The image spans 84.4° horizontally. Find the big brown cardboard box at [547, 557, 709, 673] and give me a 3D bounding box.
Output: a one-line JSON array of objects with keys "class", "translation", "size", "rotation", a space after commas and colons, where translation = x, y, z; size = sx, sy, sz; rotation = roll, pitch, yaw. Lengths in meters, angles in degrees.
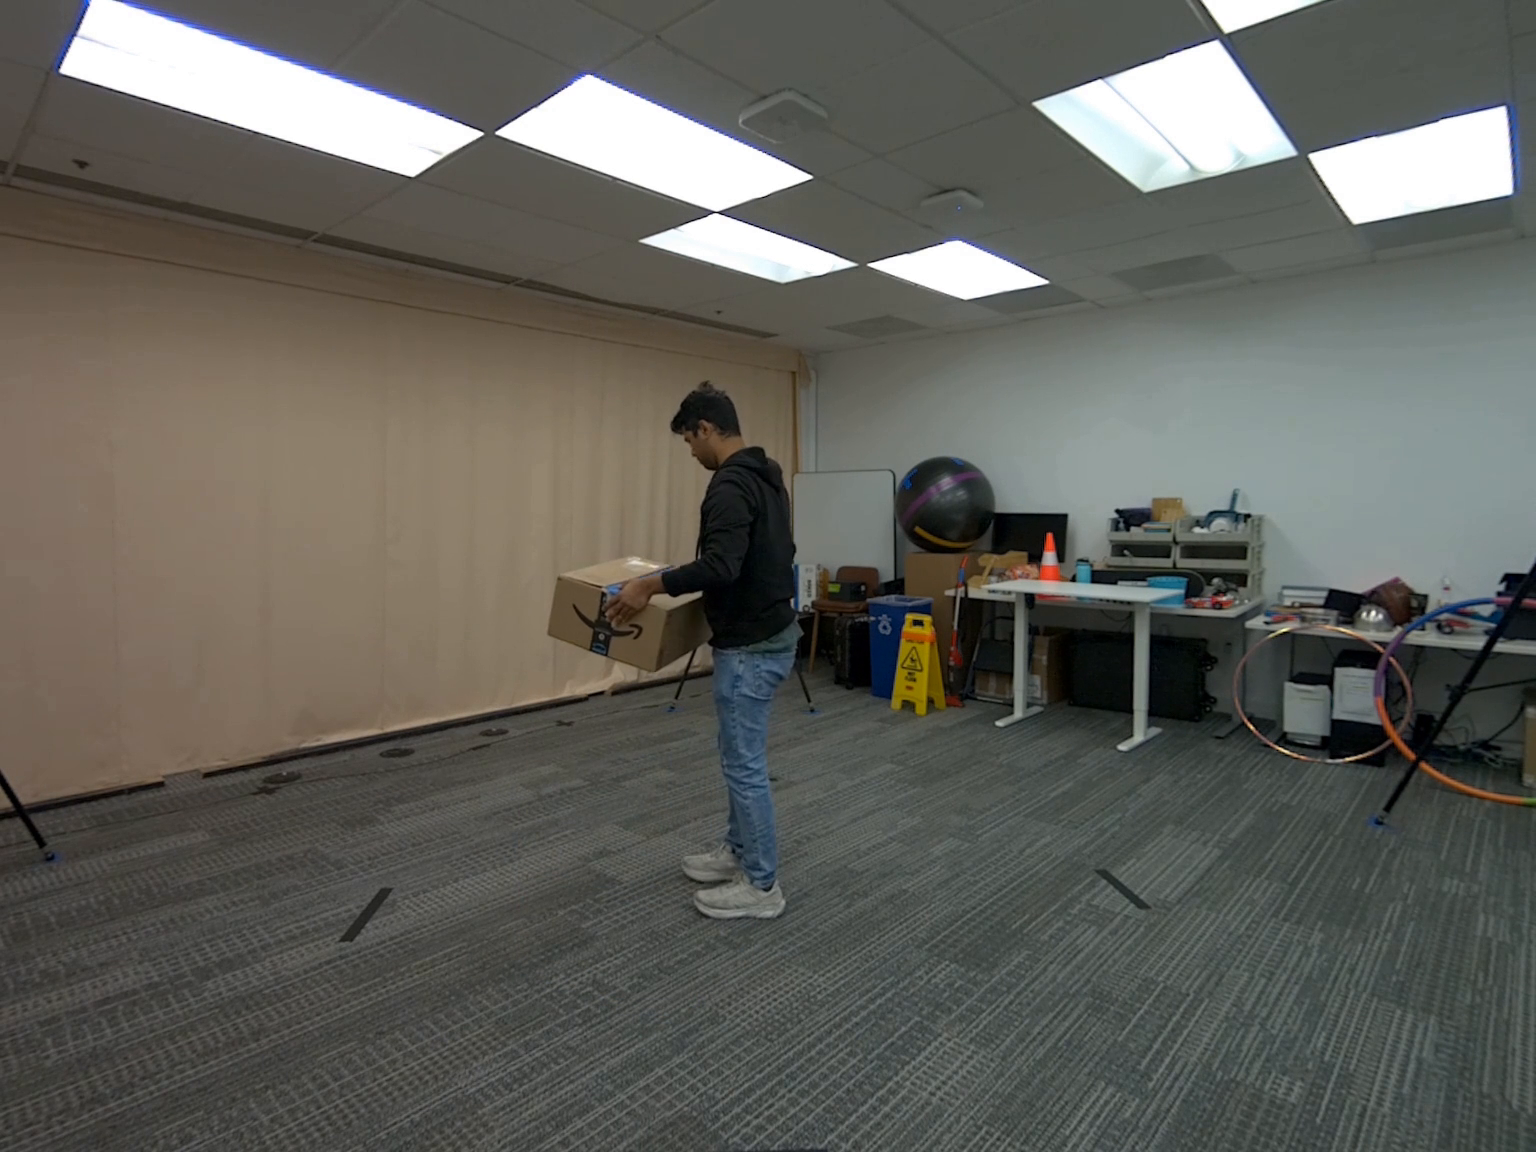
[{"class": "big brown cardboard box", "translation": [-0.441, 0.110, 3.020], "size": [0.426, 0.232, 0.580], "rotation": [14, 12, 16]}]
